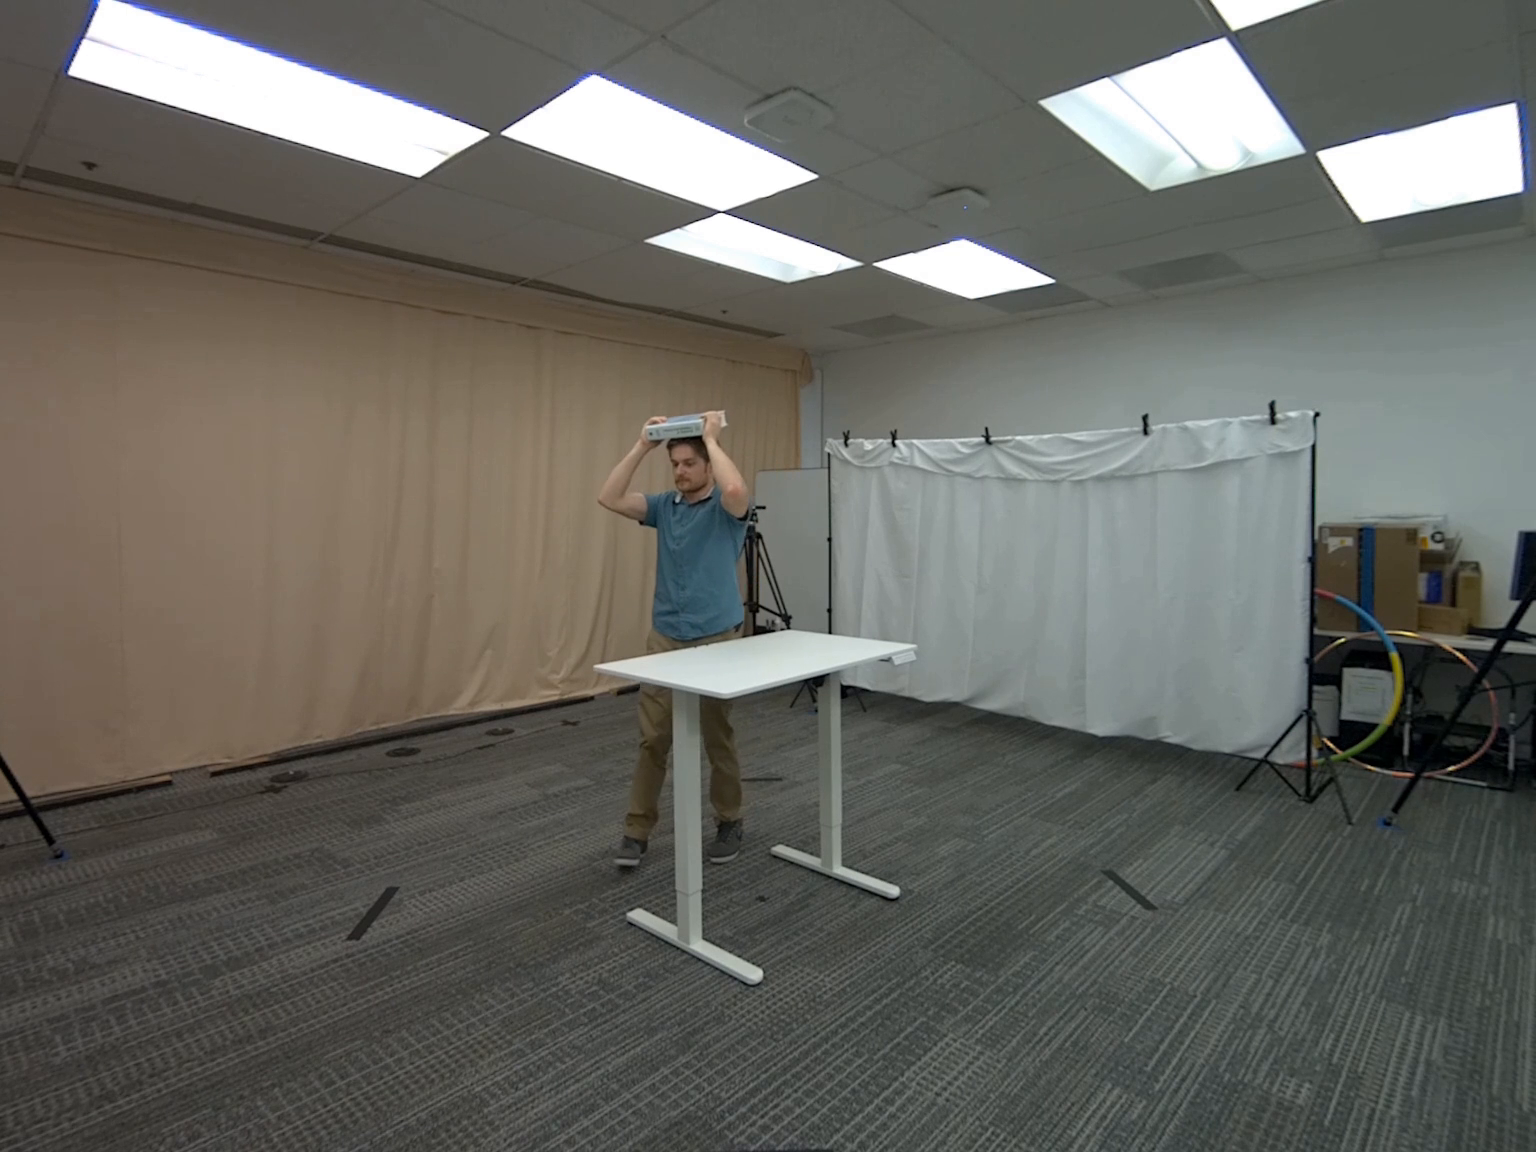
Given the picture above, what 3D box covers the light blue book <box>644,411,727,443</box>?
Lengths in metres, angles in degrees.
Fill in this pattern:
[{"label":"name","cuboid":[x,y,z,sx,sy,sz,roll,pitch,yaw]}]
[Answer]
[{"label":"light blue book","cuboid":[-0.315,-0.583,3.281,0.268,0.058,0.189,-1,21,30]}]
